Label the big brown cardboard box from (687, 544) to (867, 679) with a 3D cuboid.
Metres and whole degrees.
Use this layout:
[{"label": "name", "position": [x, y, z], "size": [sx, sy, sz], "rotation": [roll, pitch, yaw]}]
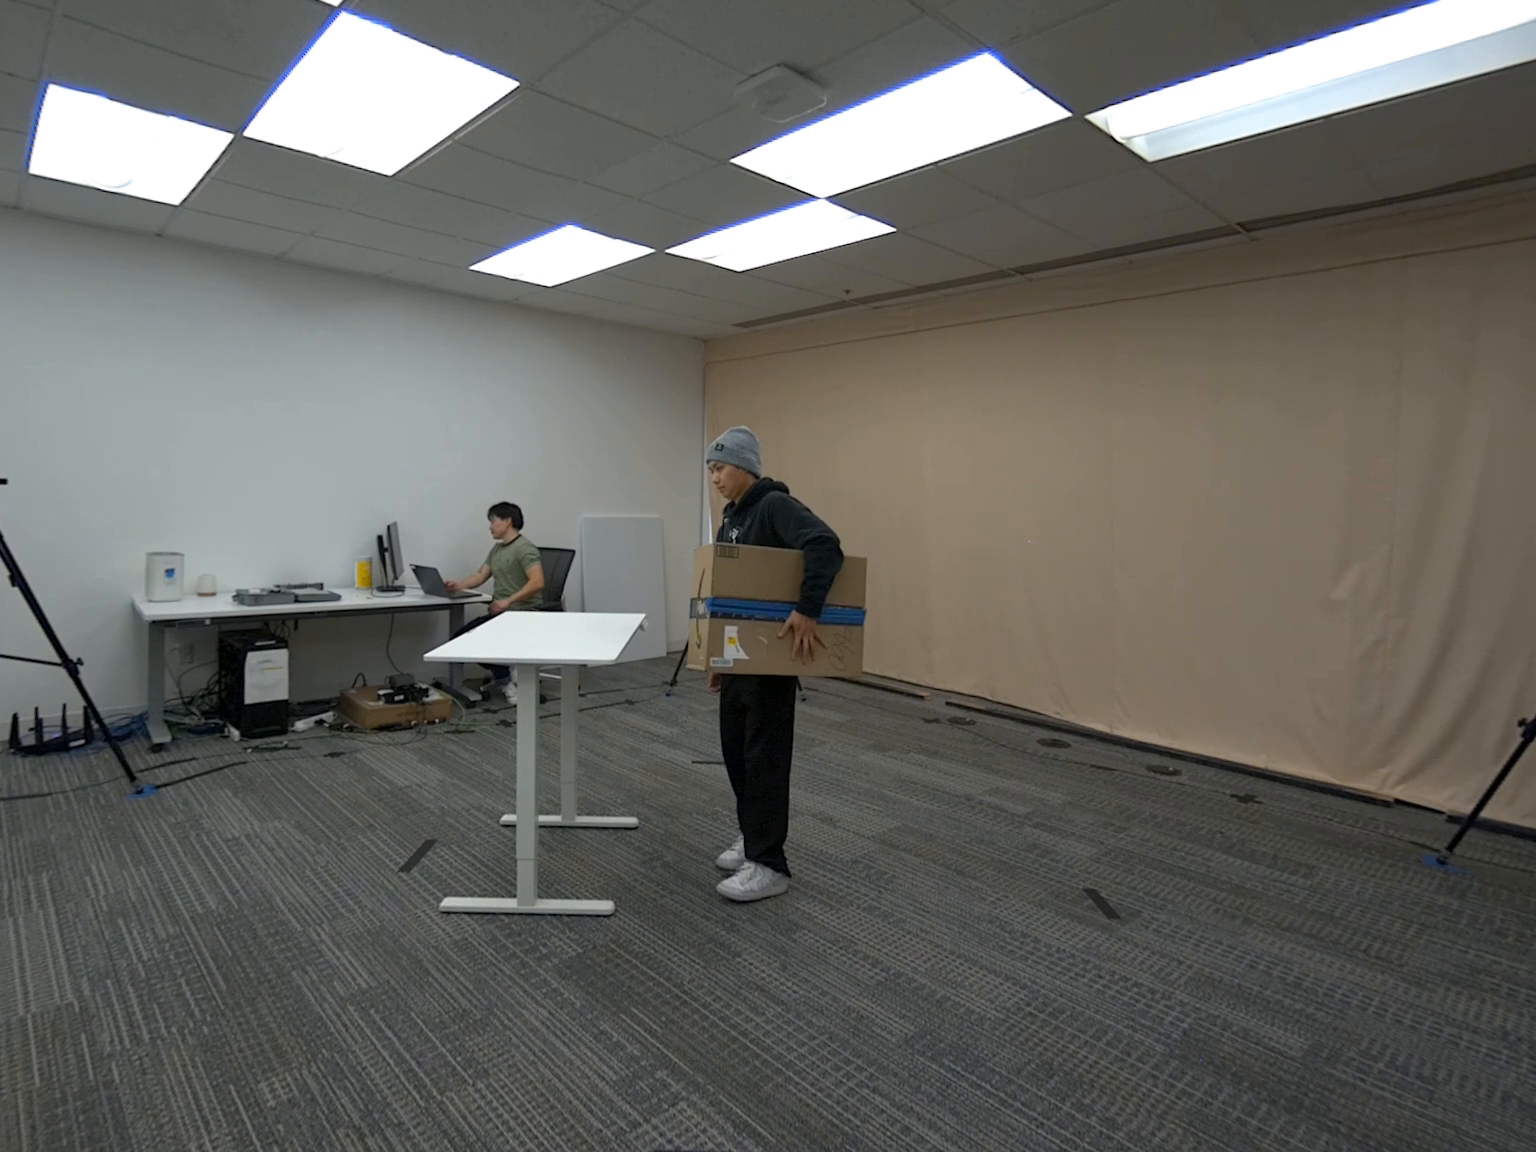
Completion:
[{"label": "big brown cardboard box", "position": [0.024, 0.128, 2.879], "size": [0.579, 0.419, 0.236], "rotation": [5, -6, -20]}]
